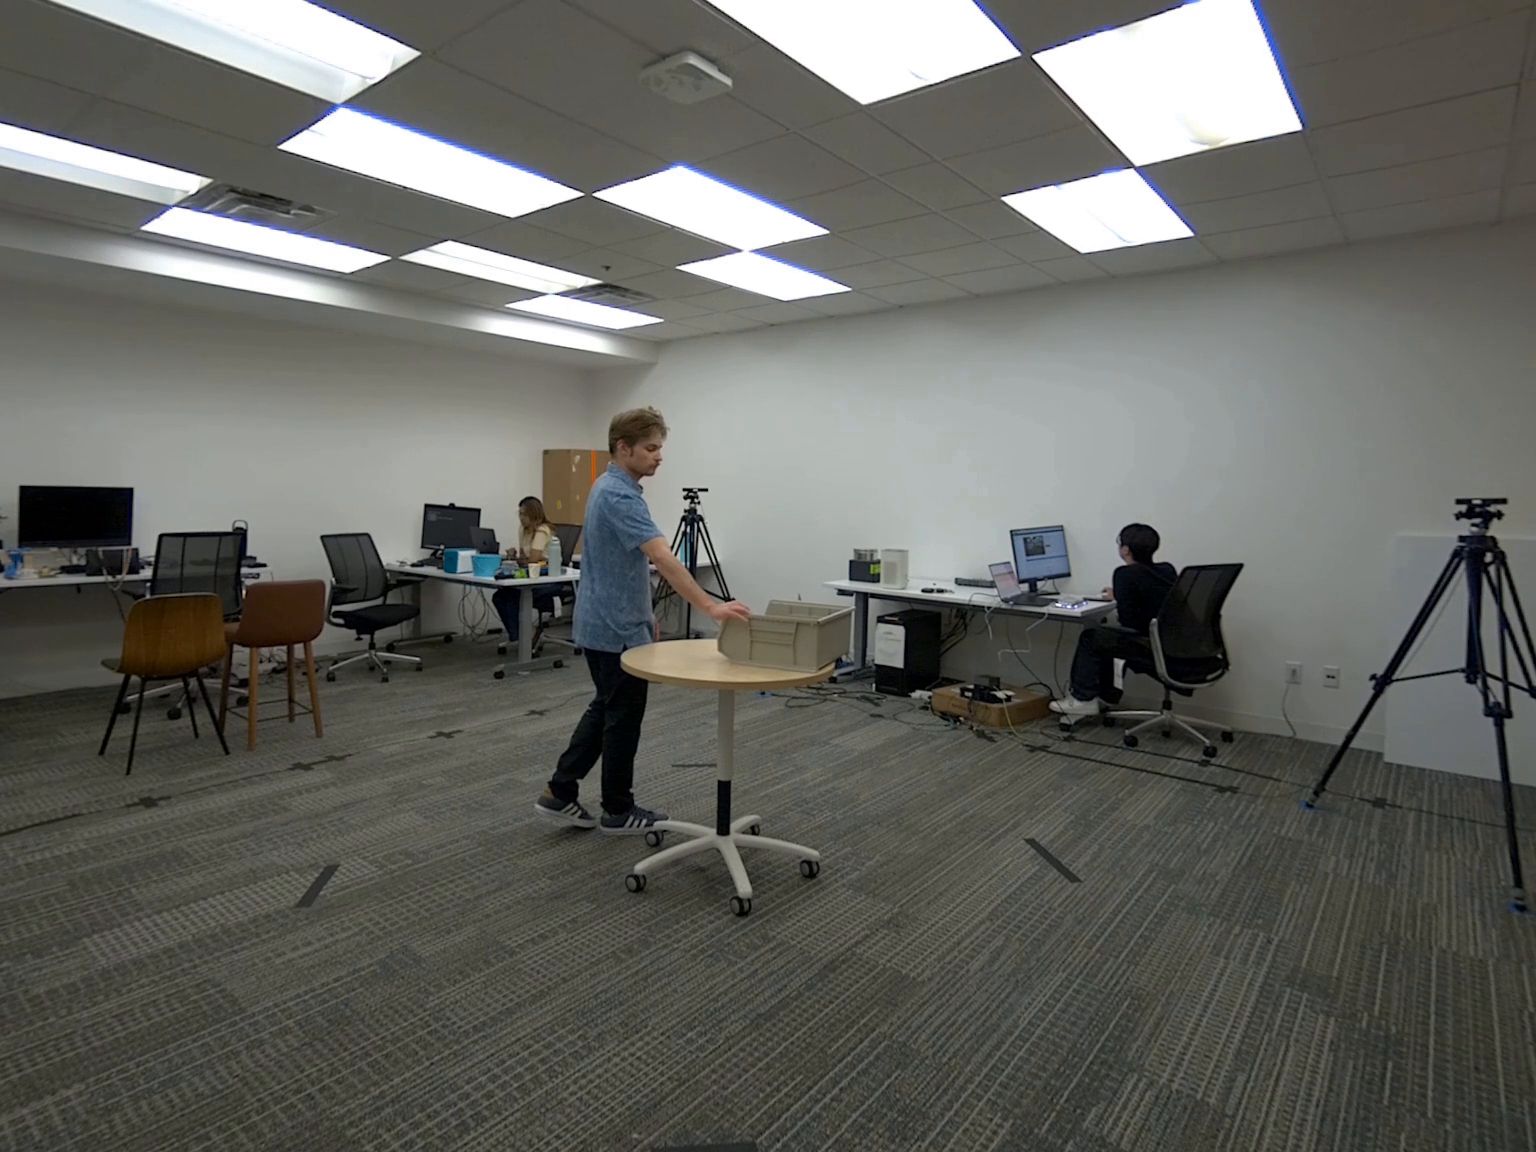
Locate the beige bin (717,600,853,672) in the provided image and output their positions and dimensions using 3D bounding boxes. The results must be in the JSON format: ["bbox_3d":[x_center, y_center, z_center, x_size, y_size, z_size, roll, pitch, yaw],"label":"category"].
[{"bbox_3d":[0.064,0.206,3.082,0.387,0.188,0.413,6,5,23],"label":"beige bin"}]
